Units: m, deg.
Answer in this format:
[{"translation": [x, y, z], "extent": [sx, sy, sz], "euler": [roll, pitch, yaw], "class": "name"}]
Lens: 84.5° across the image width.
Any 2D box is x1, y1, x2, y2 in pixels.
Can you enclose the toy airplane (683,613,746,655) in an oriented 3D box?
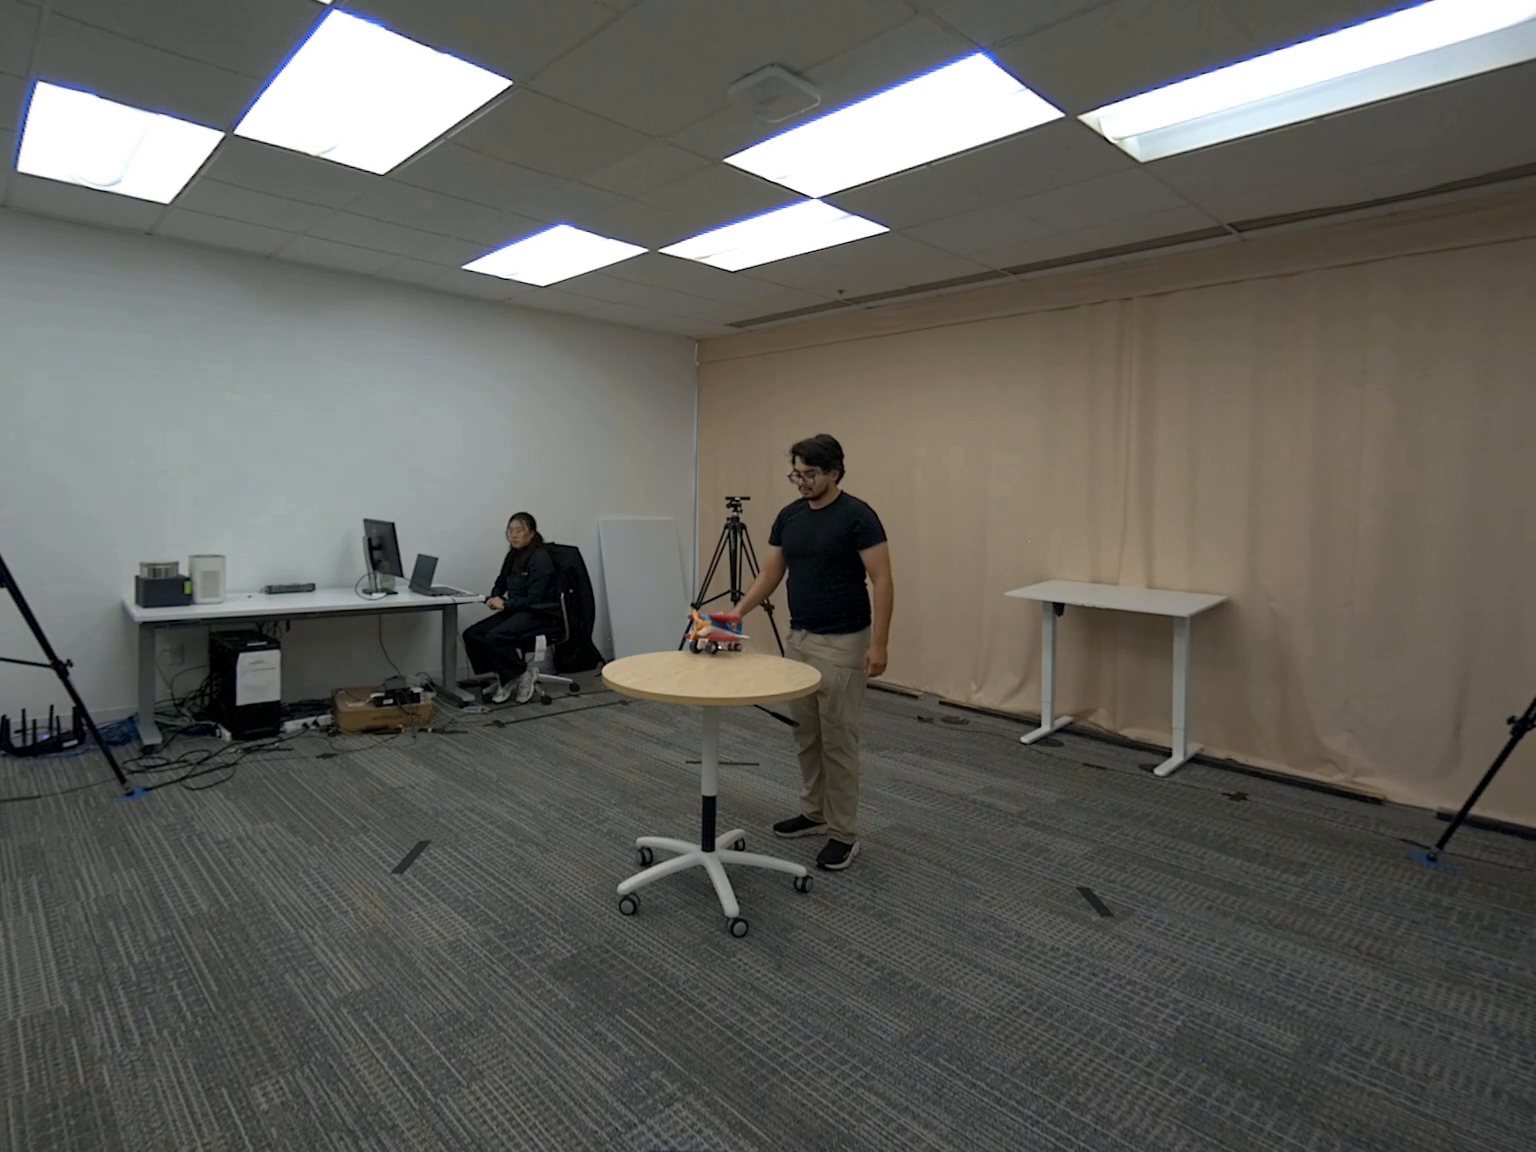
[{"translation": [-0.214, 0.222, 3.307], "extent": [0.253, 0.156, 0.257], "euler": [-1, 0, 9], "class": "toy airplane"}]
